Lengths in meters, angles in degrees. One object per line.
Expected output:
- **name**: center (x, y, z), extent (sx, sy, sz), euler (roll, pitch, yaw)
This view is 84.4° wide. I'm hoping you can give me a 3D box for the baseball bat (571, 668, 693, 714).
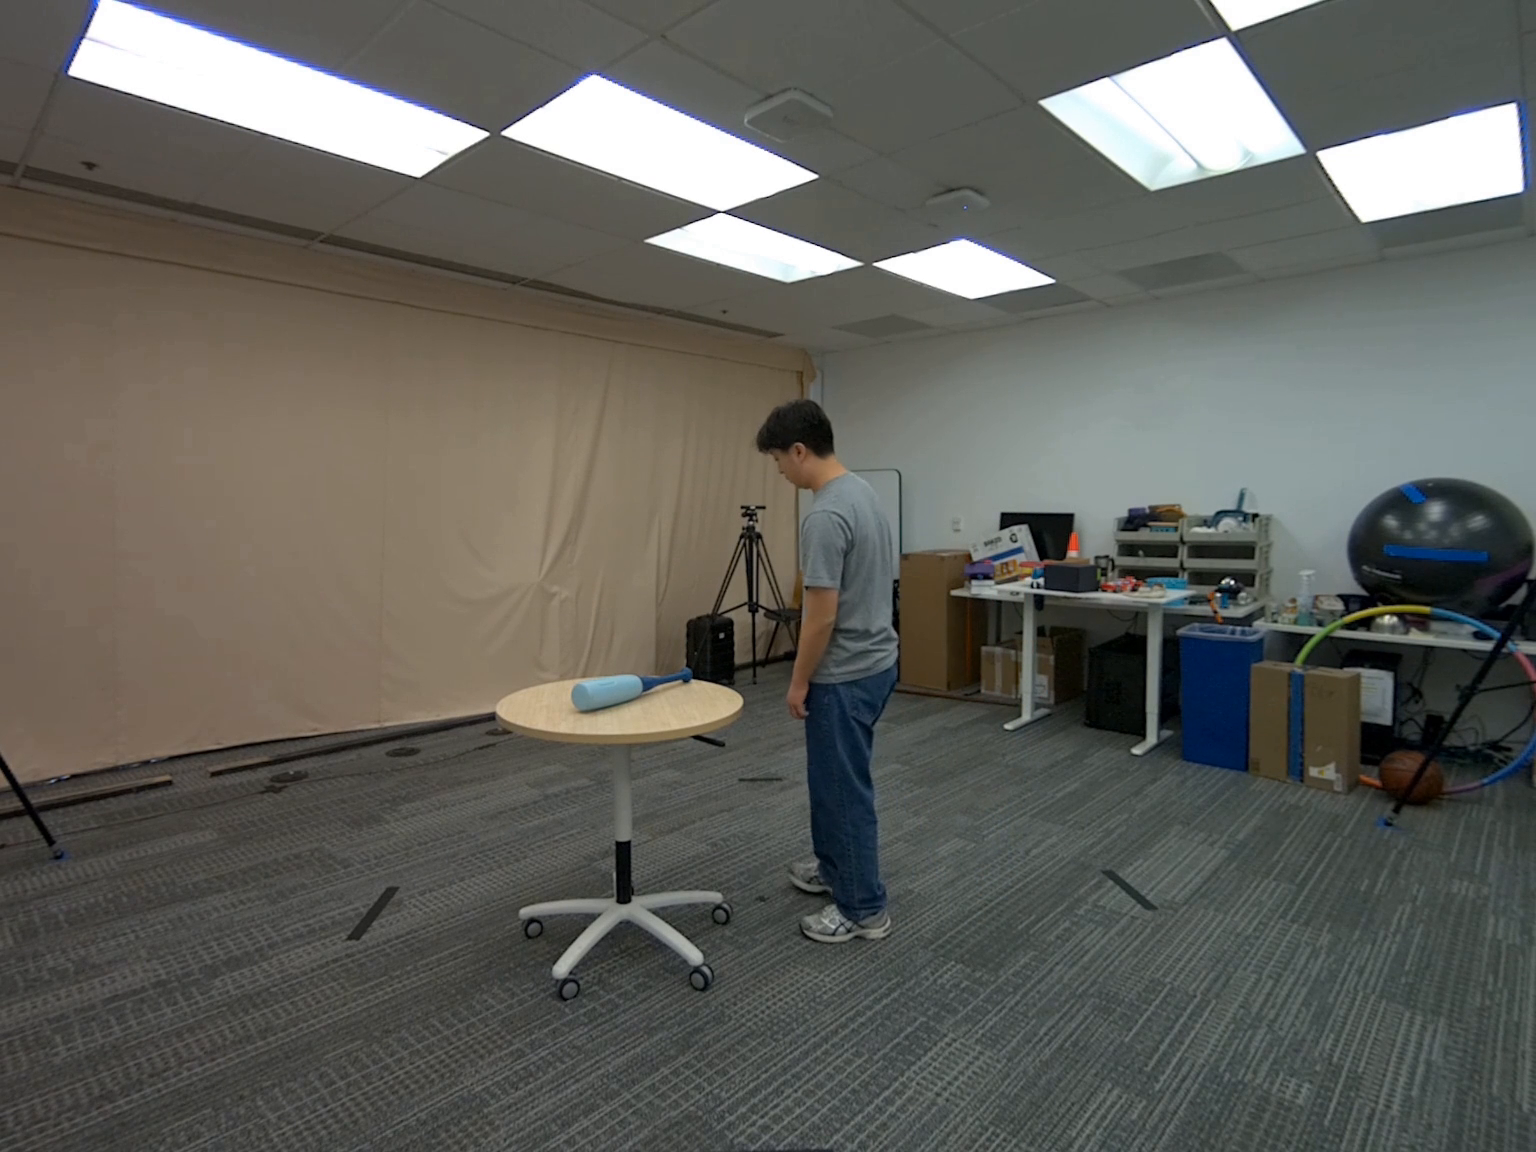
- **baseball bat**: center (-0.414, 0.356, 2.695), extent (0.092, 0.089, 0.527), euler (2, 2, 32)
